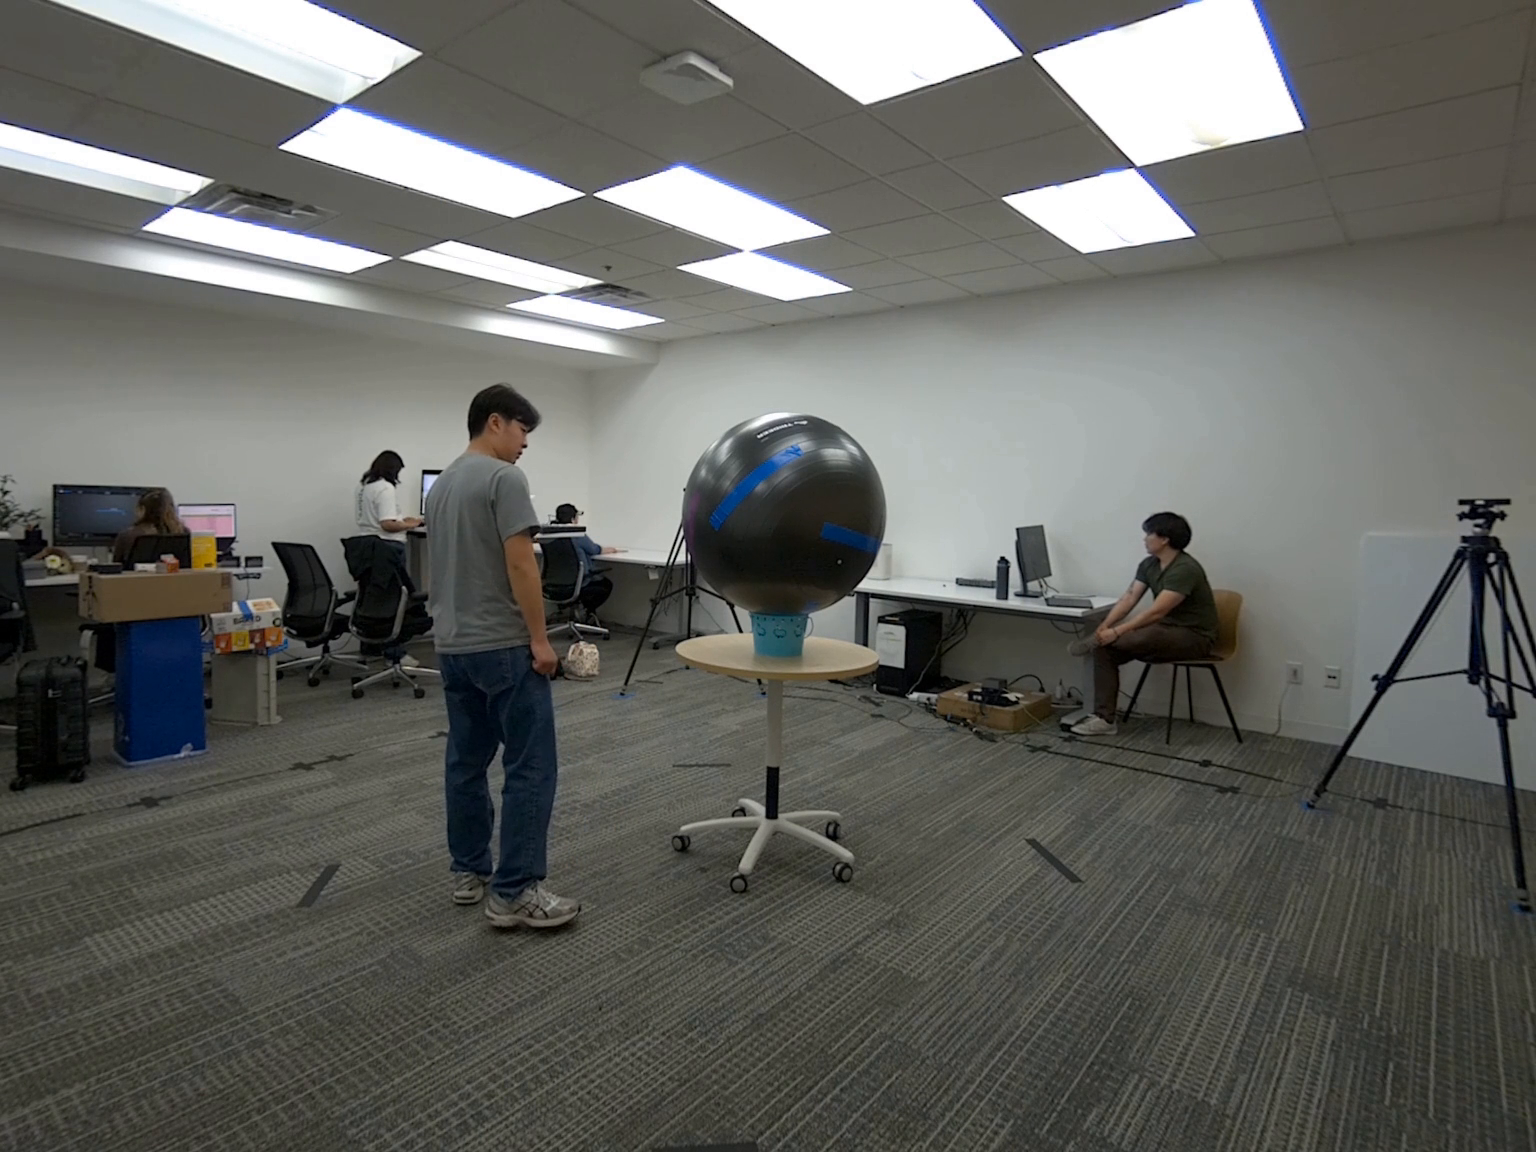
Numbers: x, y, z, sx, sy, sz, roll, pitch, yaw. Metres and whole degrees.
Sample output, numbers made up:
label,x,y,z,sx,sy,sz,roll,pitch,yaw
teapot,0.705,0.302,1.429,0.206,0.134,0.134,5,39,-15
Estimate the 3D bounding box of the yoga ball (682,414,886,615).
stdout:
label,x,y,z,sx,sy,sz,roll,pitch,yaw
yoga ball,0.048,-0.230,3.178,0.757,0.755,0.762,1,4,-2
